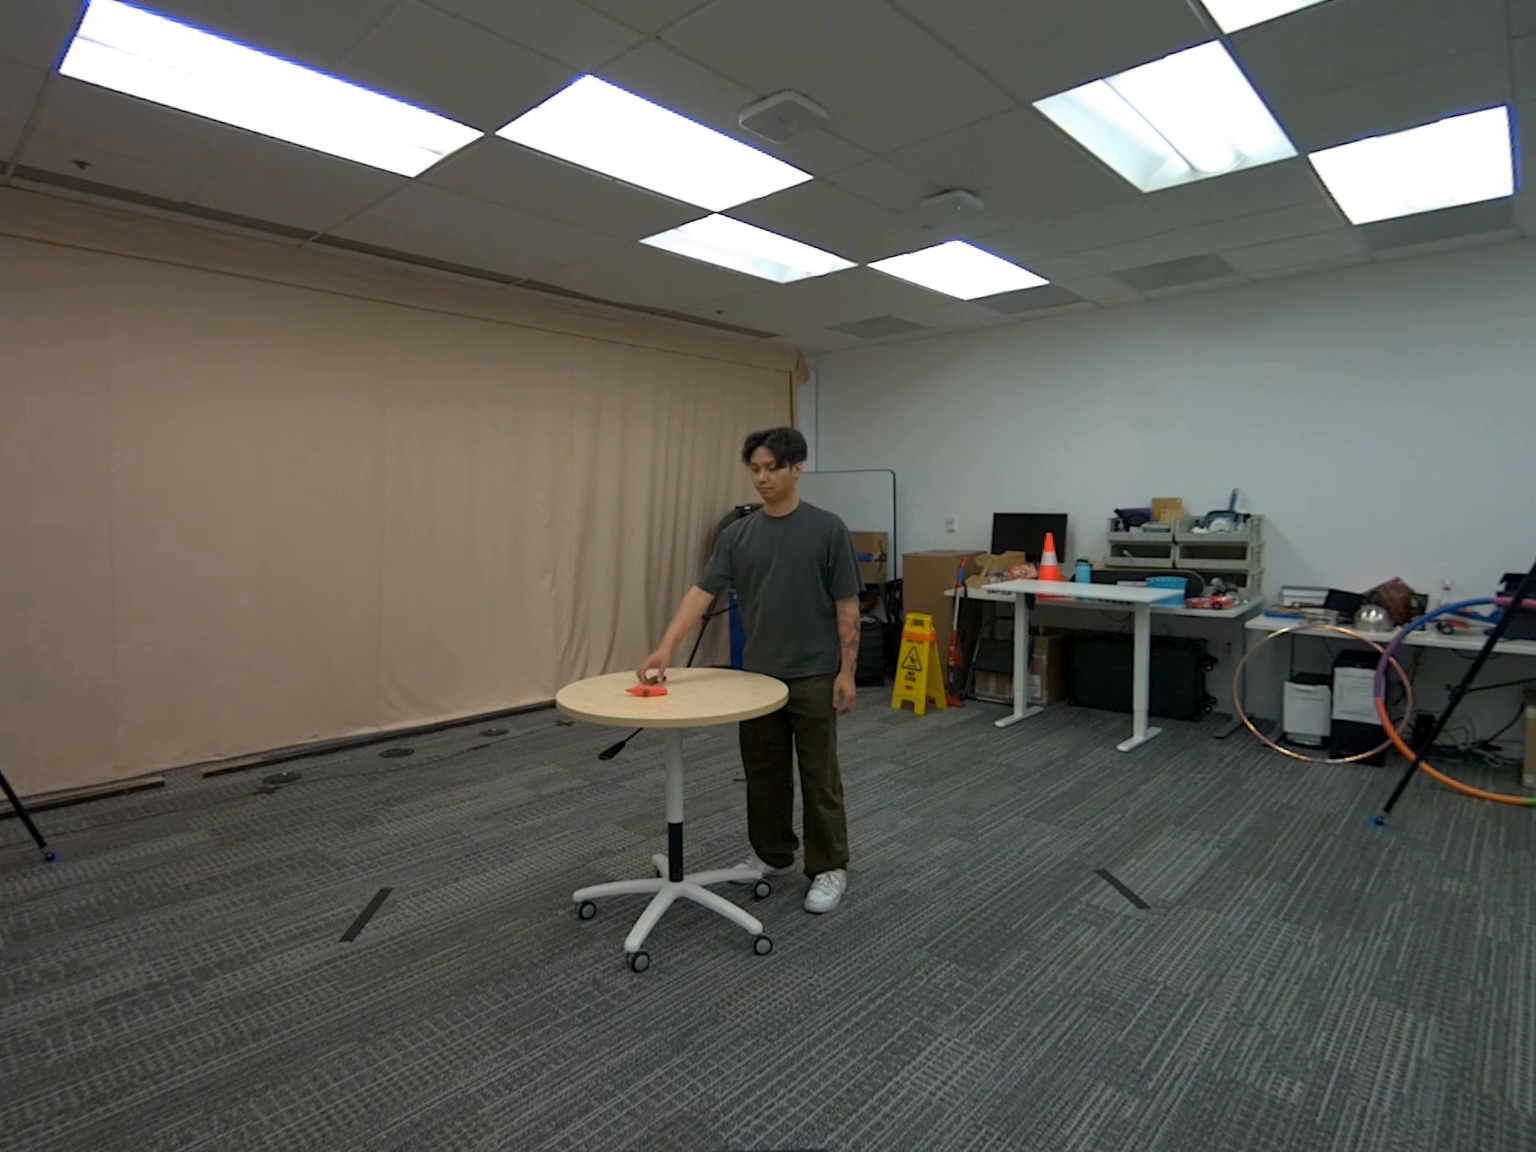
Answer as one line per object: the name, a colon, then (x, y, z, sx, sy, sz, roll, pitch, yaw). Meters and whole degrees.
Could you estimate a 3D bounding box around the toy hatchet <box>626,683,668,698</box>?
toy hatchet: (-0.373, 0.365, 2.817, 0.134, 0.029, 0.265, 2, 4, 18)
